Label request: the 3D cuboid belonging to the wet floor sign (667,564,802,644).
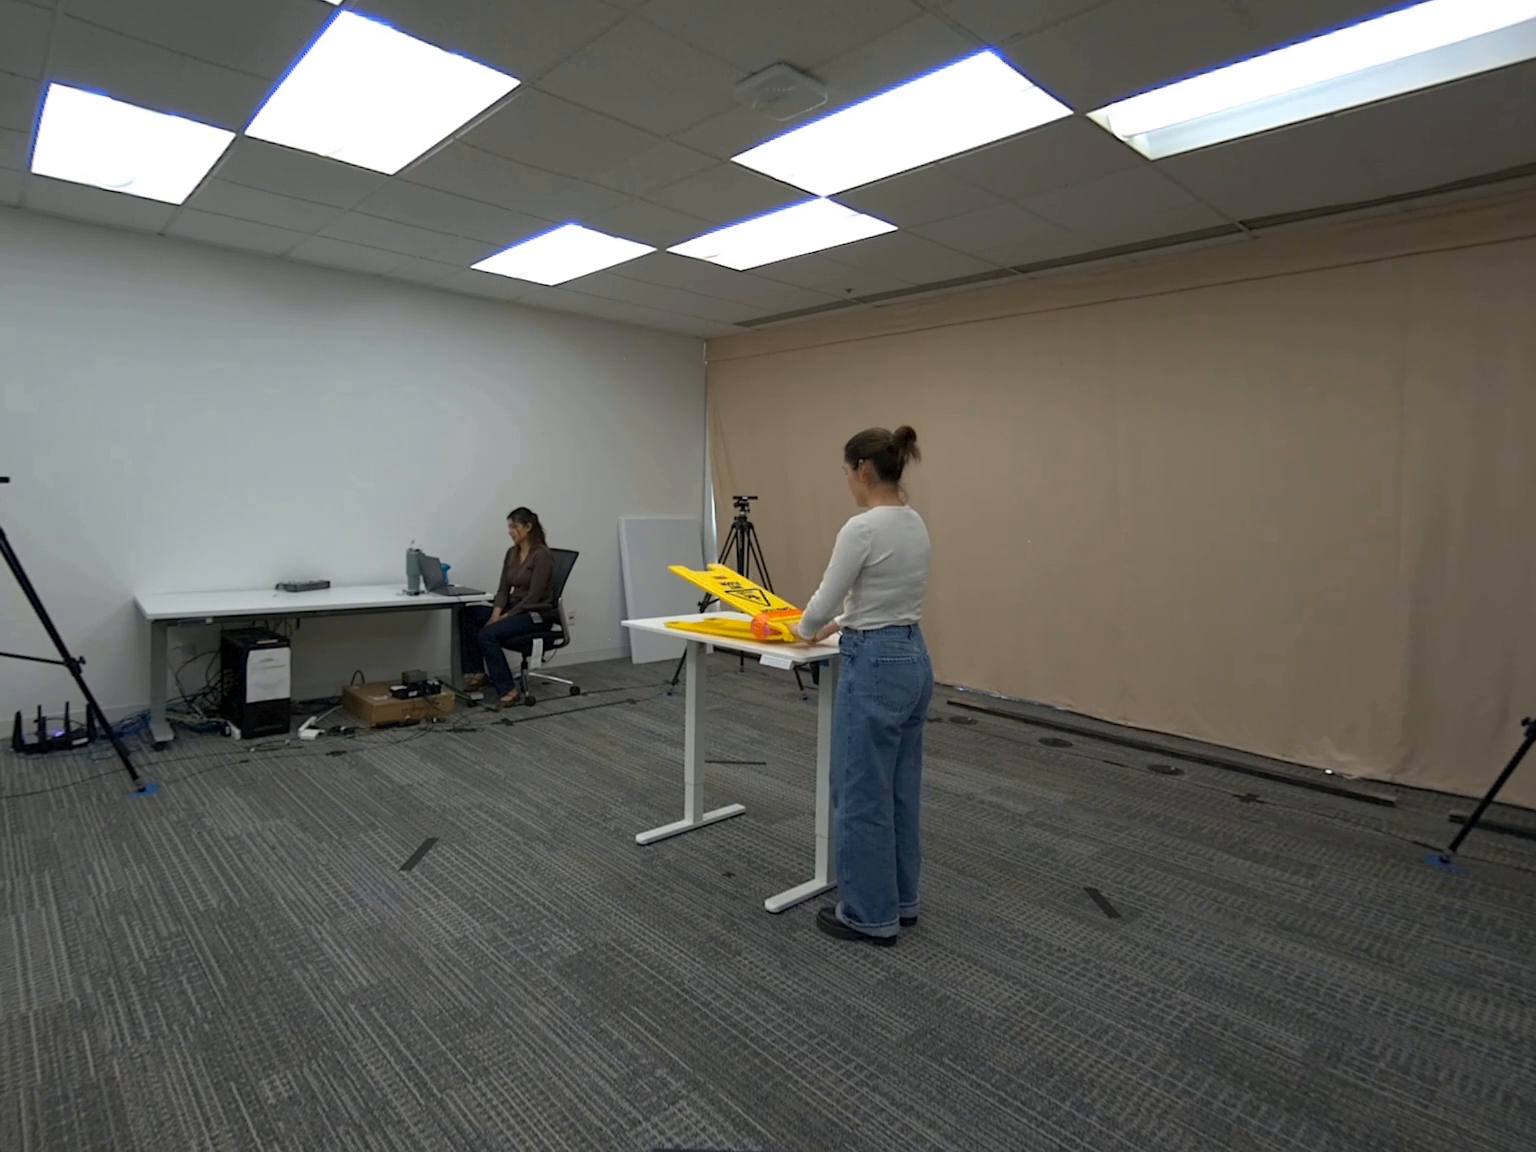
[{"bbox_3d":[-0.073,0.148,3.117,0.276,0.288,0.665,-3,13,-43],"label":"wet floor sign"}]
